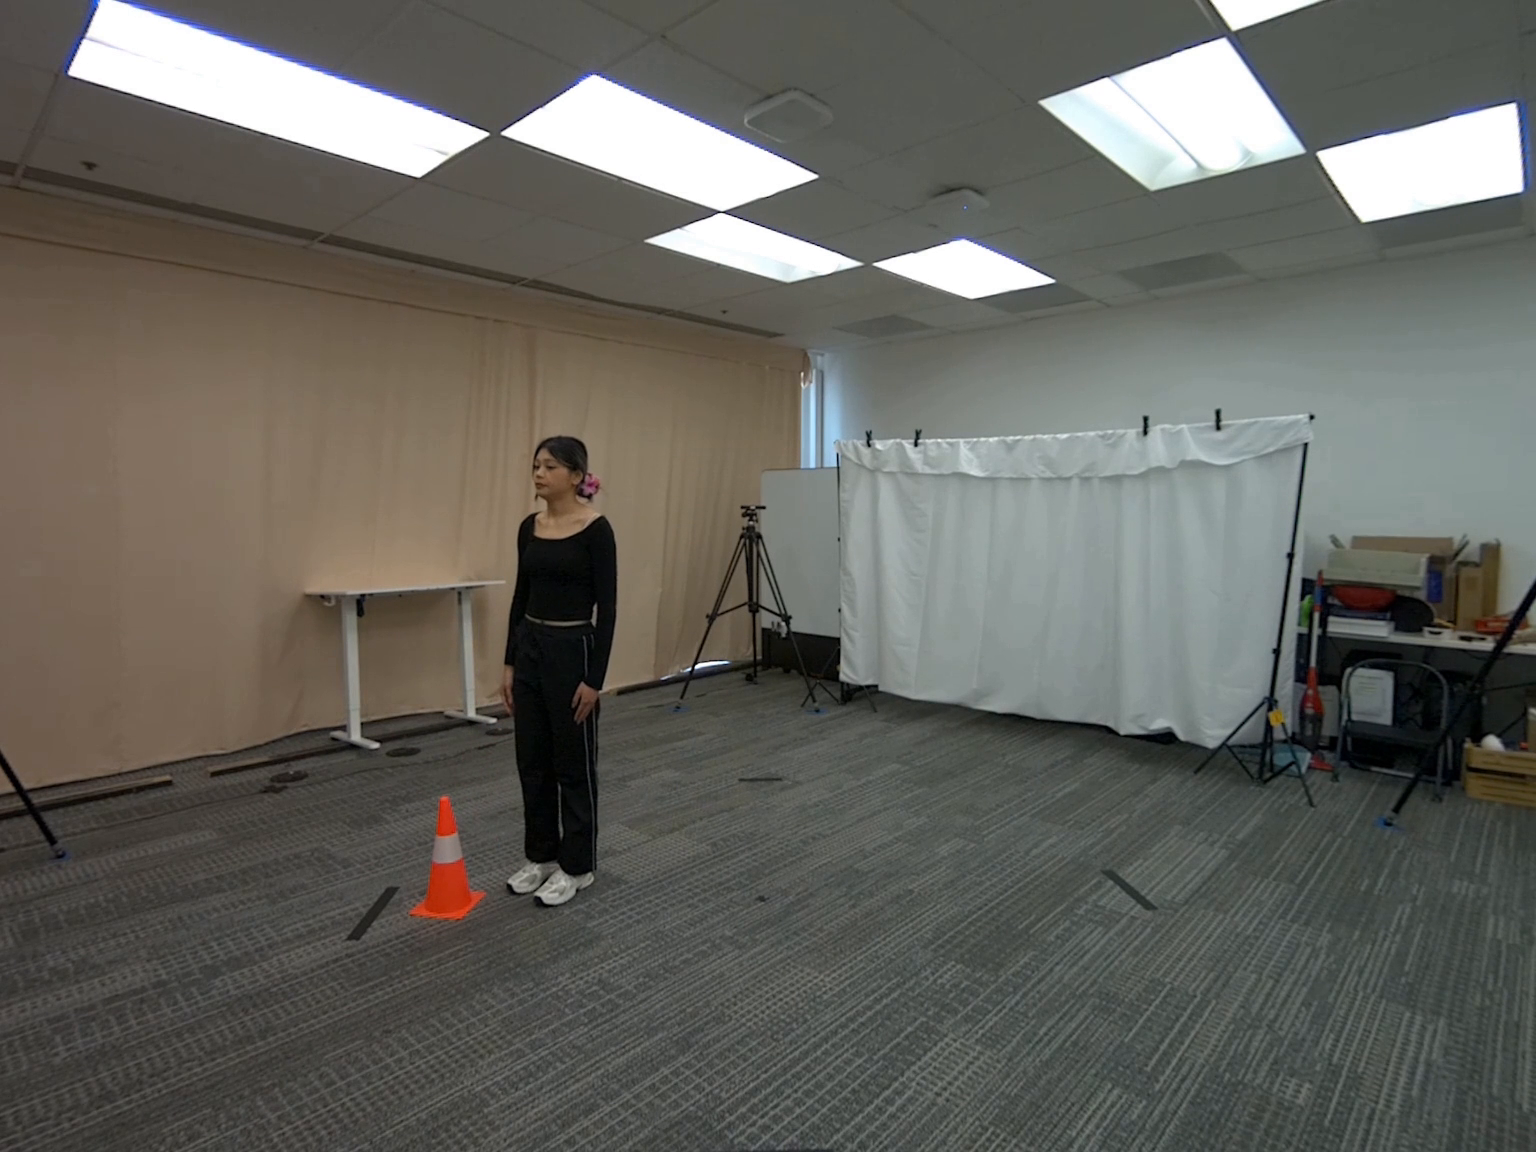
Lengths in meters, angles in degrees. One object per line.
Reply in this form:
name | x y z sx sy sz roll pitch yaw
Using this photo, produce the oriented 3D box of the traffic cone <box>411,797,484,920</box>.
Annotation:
traffic cone | -1.134 0.970 2.957 0.206 0.384 0.202 0 0 5
